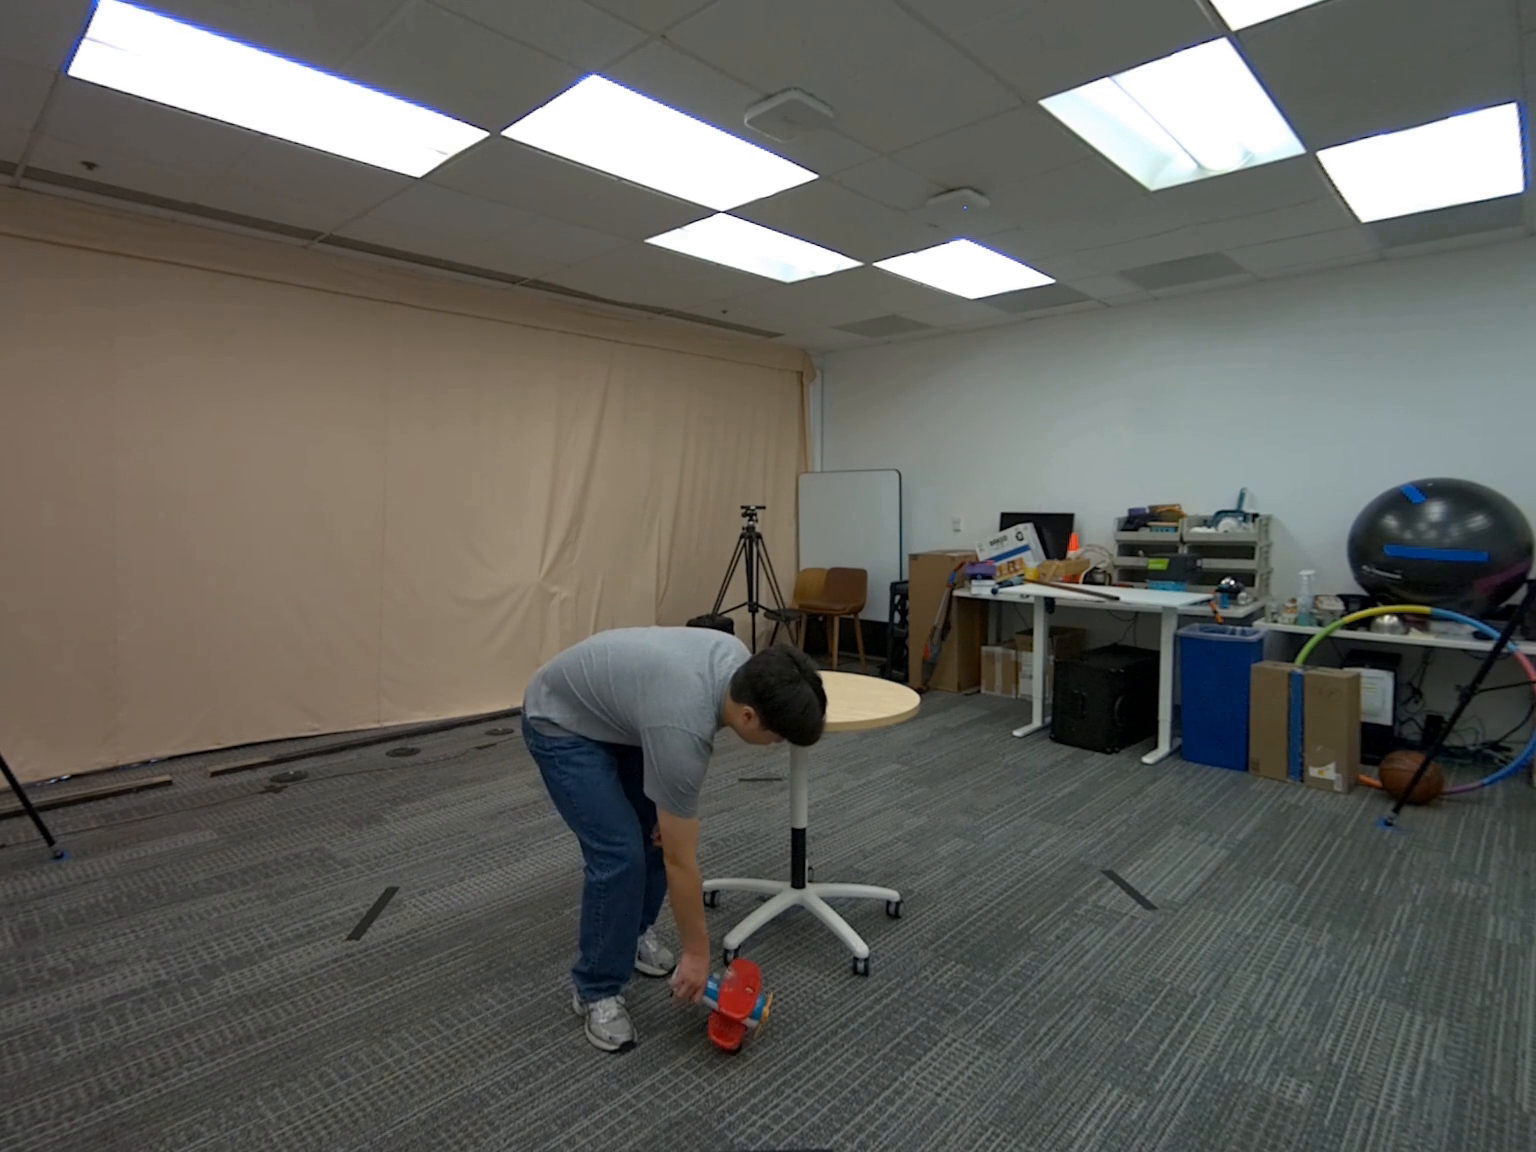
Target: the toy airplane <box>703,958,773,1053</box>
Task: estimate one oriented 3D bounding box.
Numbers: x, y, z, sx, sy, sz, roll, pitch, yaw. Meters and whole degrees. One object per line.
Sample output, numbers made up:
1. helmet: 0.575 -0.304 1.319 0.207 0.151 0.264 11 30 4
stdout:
1. toy airplane: -0.123 1.108 2.160 0.253 0.156 0.257 29 9 -21
